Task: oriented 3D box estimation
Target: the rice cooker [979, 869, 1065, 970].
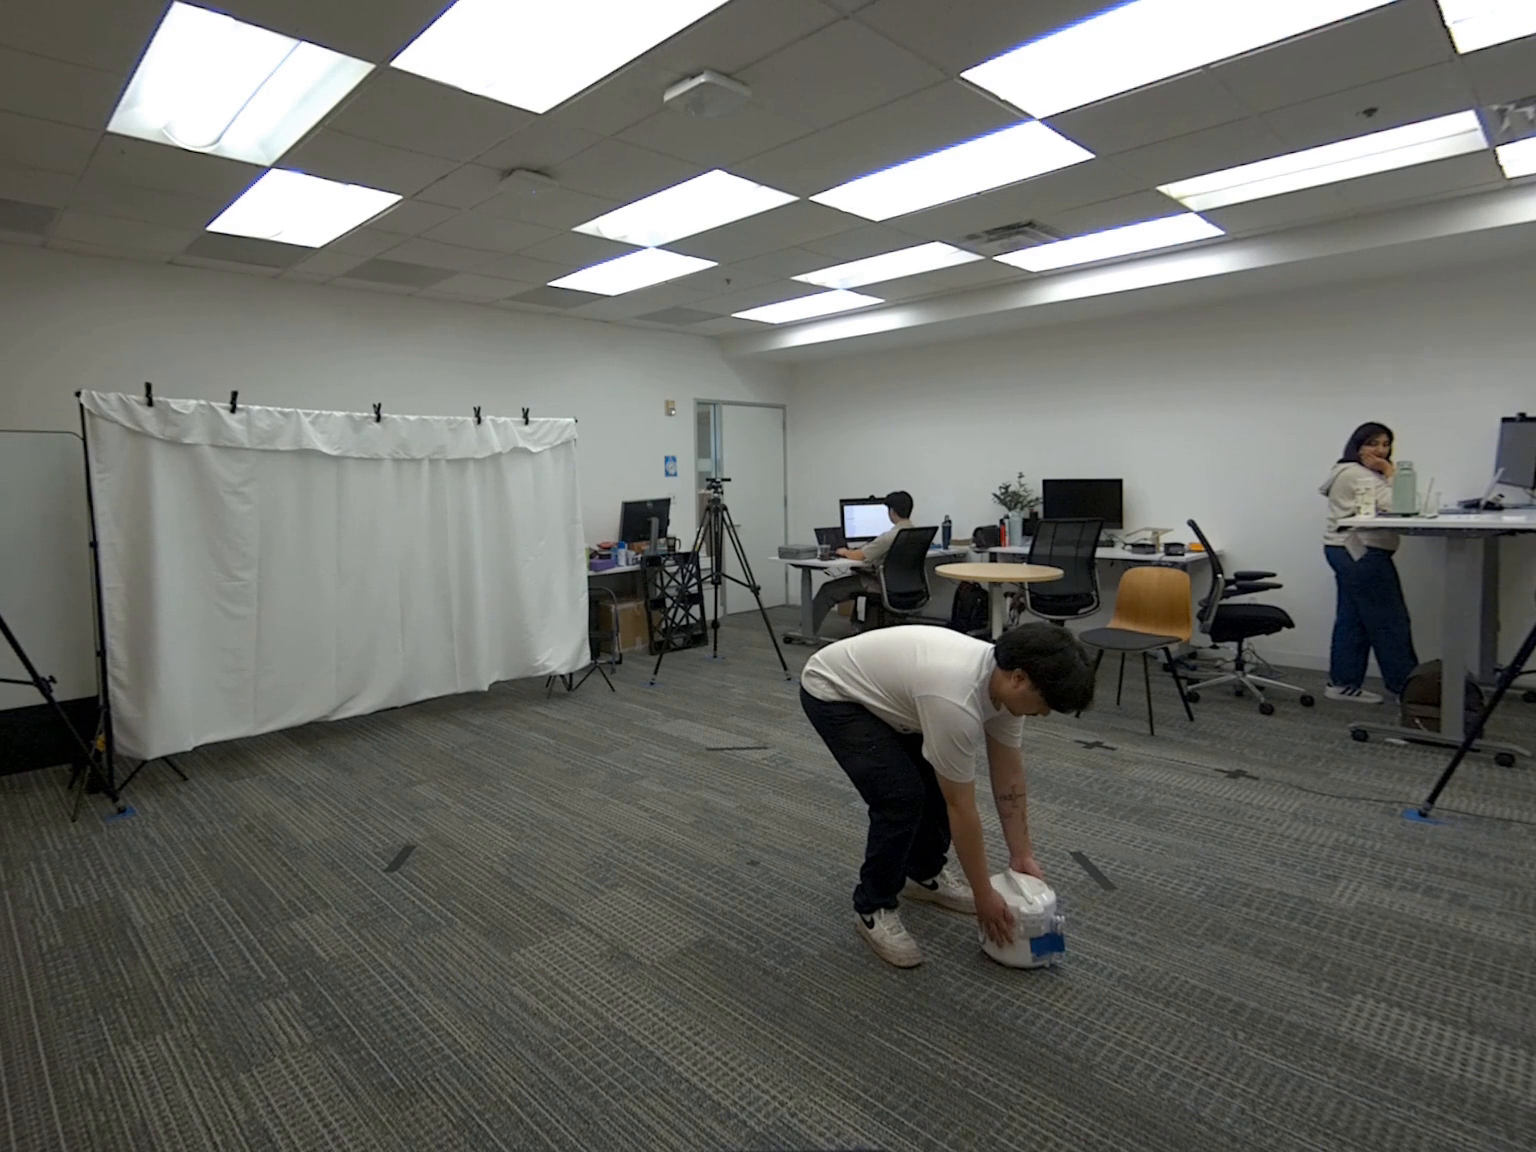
[{"bbox_3d":[0.723,0.984,2.474,0.217,0.232,0.221,1,5,-1],"label":"rice cooker"}]
